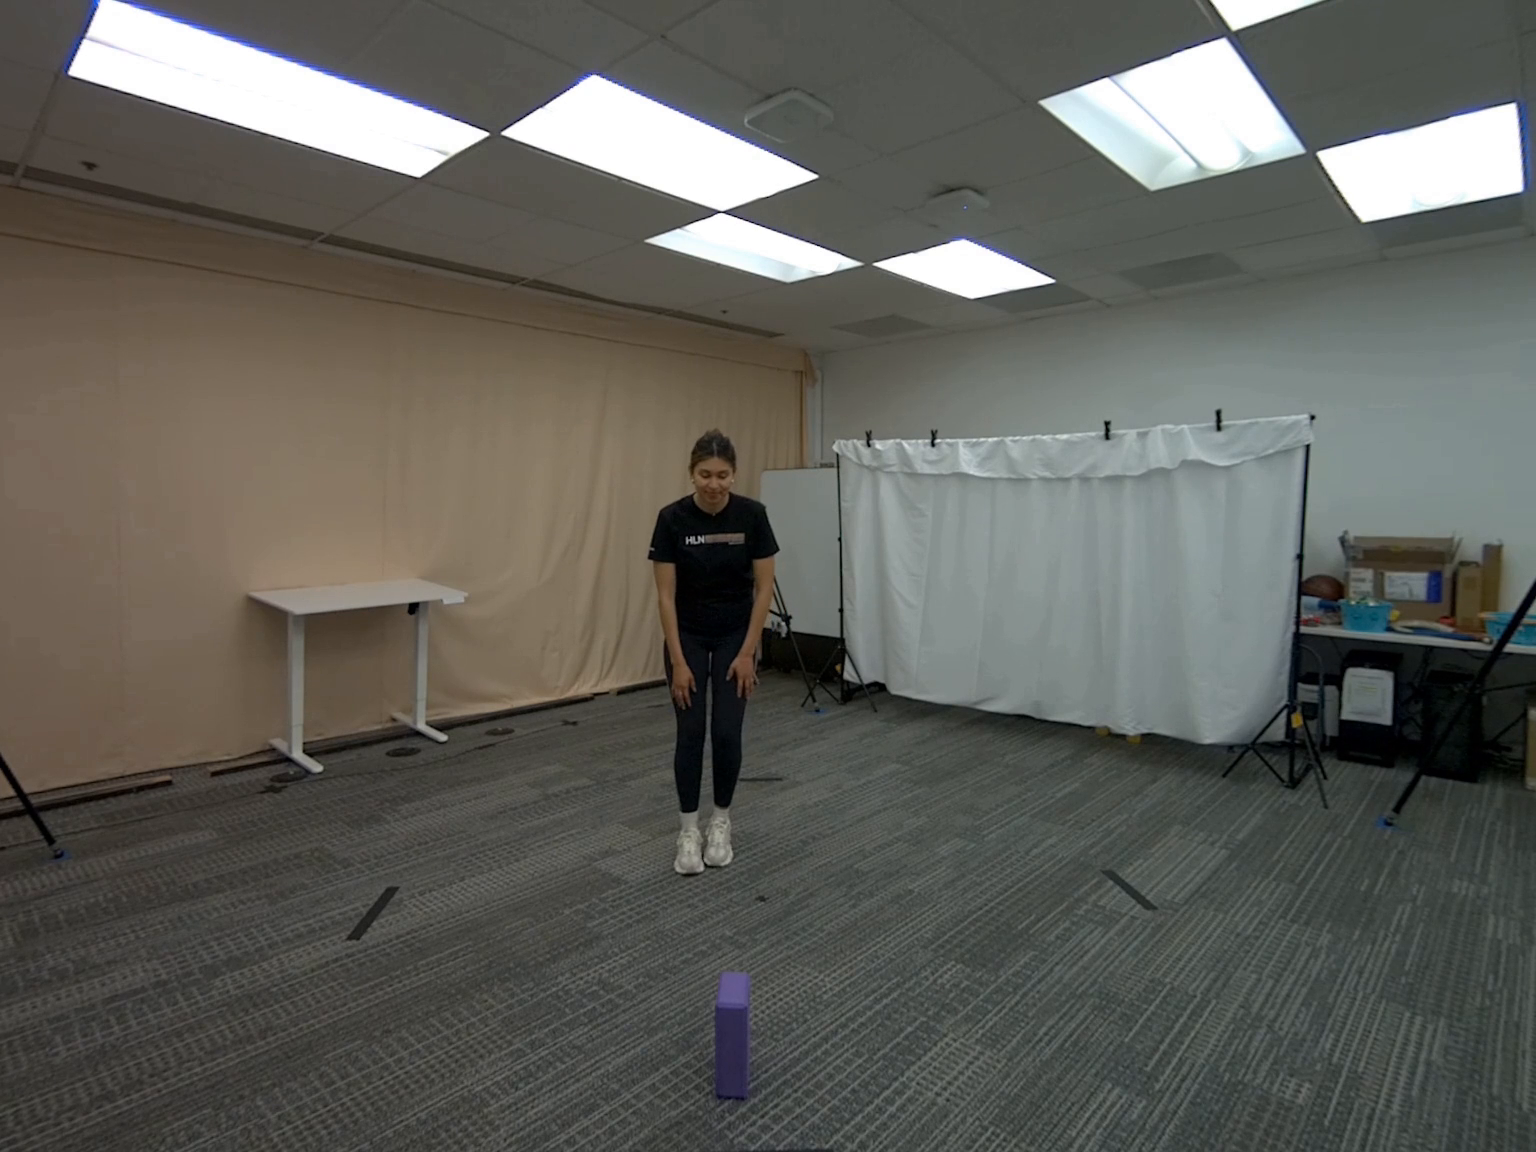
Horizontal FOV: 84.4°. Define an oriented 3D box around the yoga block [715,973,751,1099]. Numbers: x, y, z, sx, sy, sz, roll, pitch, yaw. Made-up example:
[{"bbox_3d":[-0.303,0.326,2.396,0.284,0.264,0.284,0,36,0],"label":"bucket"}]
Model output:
[{"bbox_3d":[-0.082,1.112,2.033,0.077,0.229,0.148,0,3,3],"label":"yoga block"}]
